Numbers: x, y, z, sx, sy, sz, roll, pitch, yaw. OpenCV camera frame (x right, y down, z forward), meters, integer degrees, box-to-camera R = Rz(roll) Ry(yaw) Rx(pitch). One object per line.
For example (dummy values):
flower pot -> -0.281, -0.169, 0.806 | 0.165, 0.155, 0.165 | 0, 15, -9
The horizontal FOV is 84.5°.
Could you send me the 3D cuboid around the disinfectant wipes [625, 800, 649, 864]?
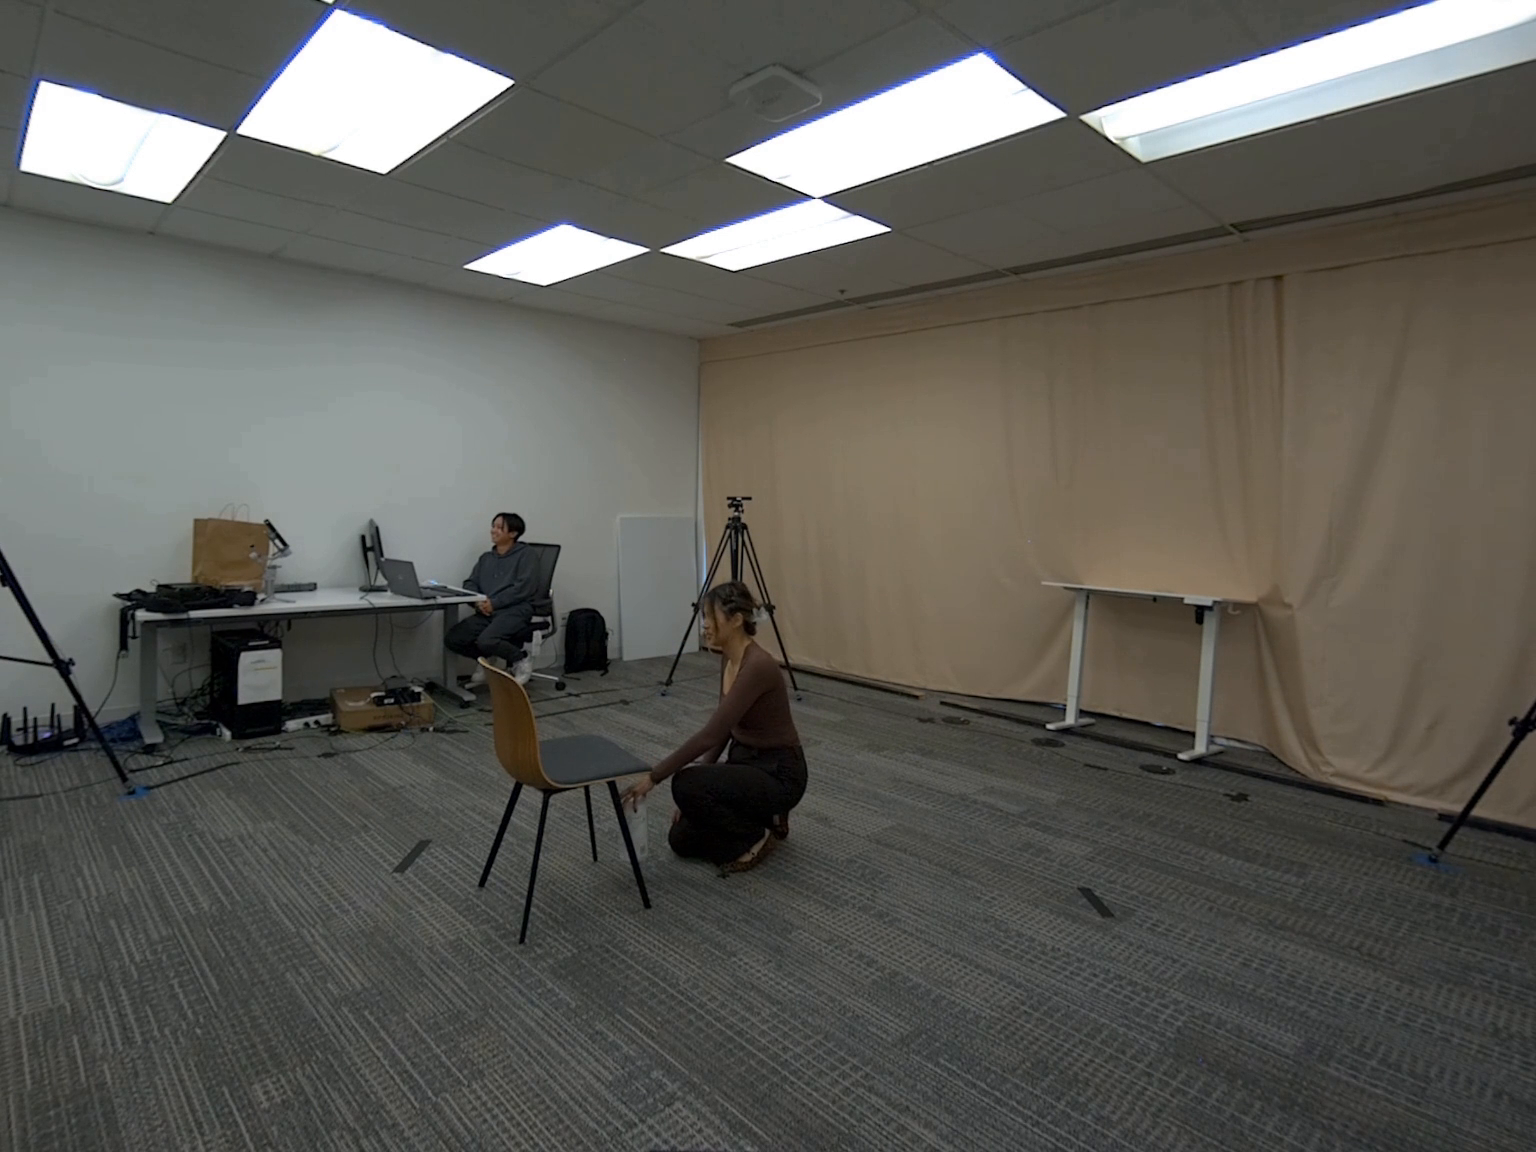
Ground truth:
disinfectant wipes -> -0.489, 0.918, 3.053 | 0.118, 0.216, 0.118 | -1, 7, -1
